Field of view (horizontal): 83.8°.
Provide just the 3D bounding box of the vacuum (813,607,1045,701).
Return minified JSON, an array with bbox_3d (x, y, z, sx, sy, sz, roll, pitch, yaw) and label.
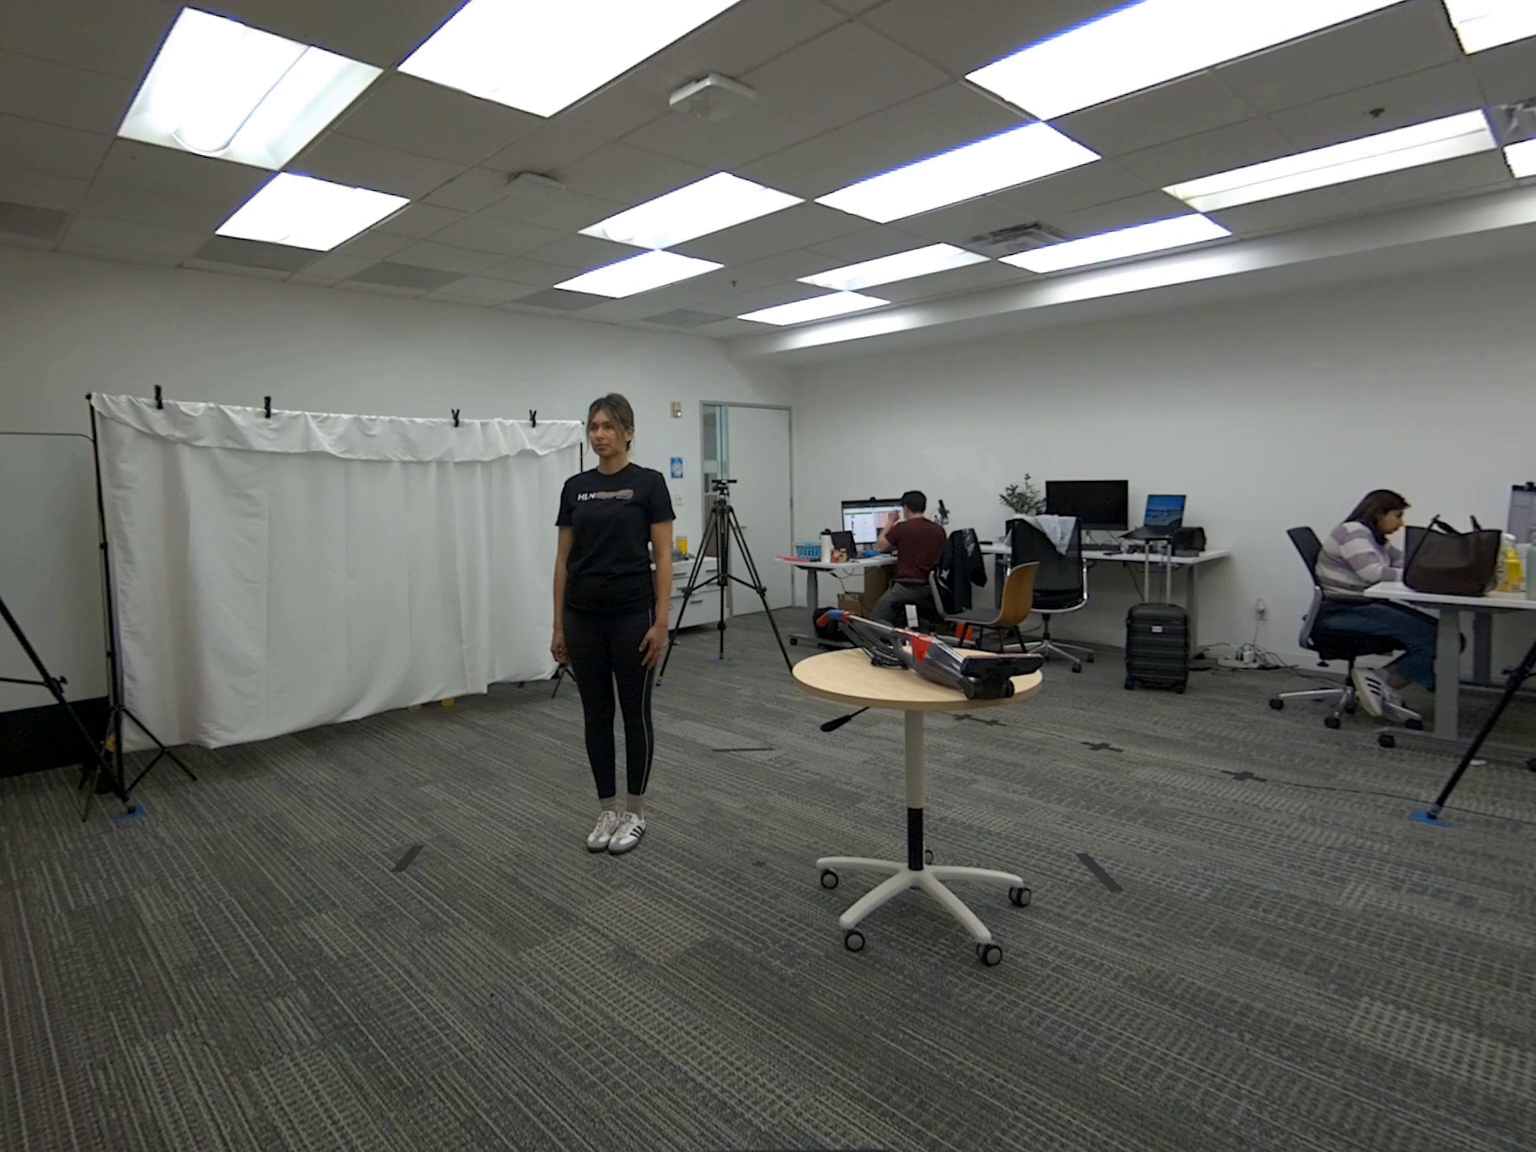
[{"bbox_3d":[0.423,0.241,2.779,0.247,0.144,1.073,2,4,-23],"label":"vacuum"}]
